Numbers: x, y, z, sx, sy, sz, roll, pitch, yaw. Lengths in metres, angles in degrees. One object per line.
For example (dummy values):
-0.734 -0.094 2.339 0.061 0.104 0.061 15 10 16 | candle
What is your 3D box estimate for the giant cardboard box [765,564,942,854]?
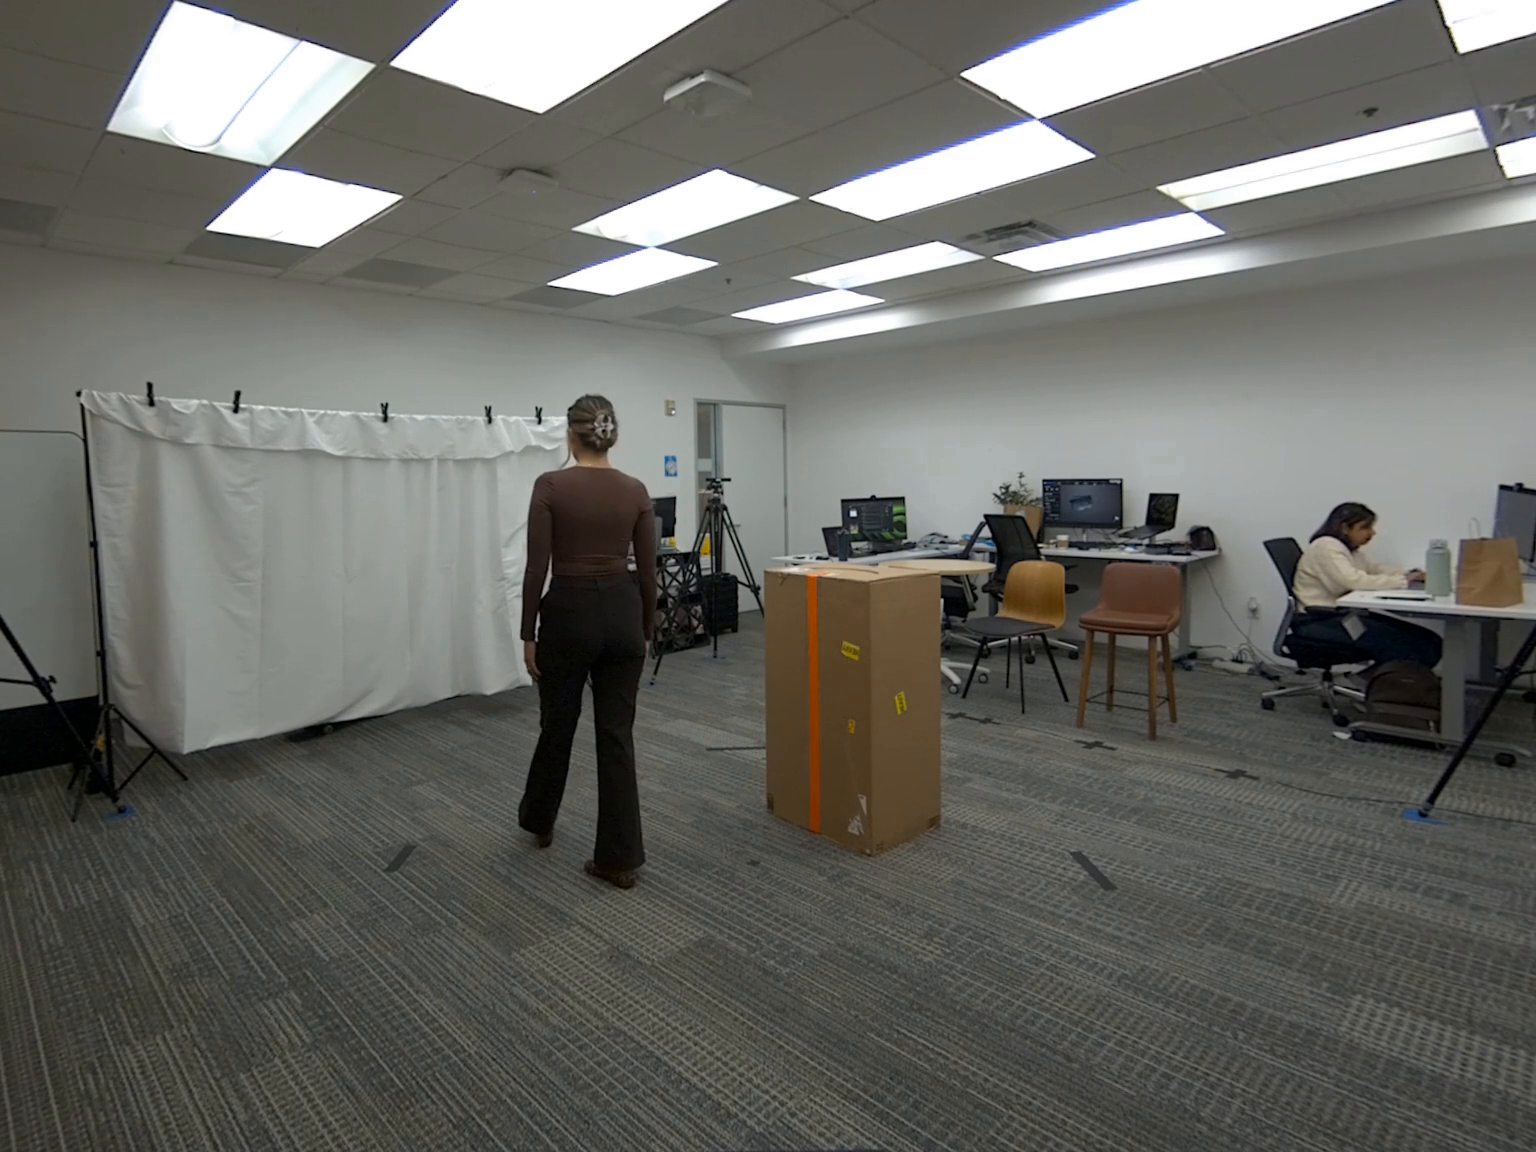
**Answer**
0.335 0.484 3.460 0.435 1.023 0.602 -5 6 -39 | giant cardboard box
